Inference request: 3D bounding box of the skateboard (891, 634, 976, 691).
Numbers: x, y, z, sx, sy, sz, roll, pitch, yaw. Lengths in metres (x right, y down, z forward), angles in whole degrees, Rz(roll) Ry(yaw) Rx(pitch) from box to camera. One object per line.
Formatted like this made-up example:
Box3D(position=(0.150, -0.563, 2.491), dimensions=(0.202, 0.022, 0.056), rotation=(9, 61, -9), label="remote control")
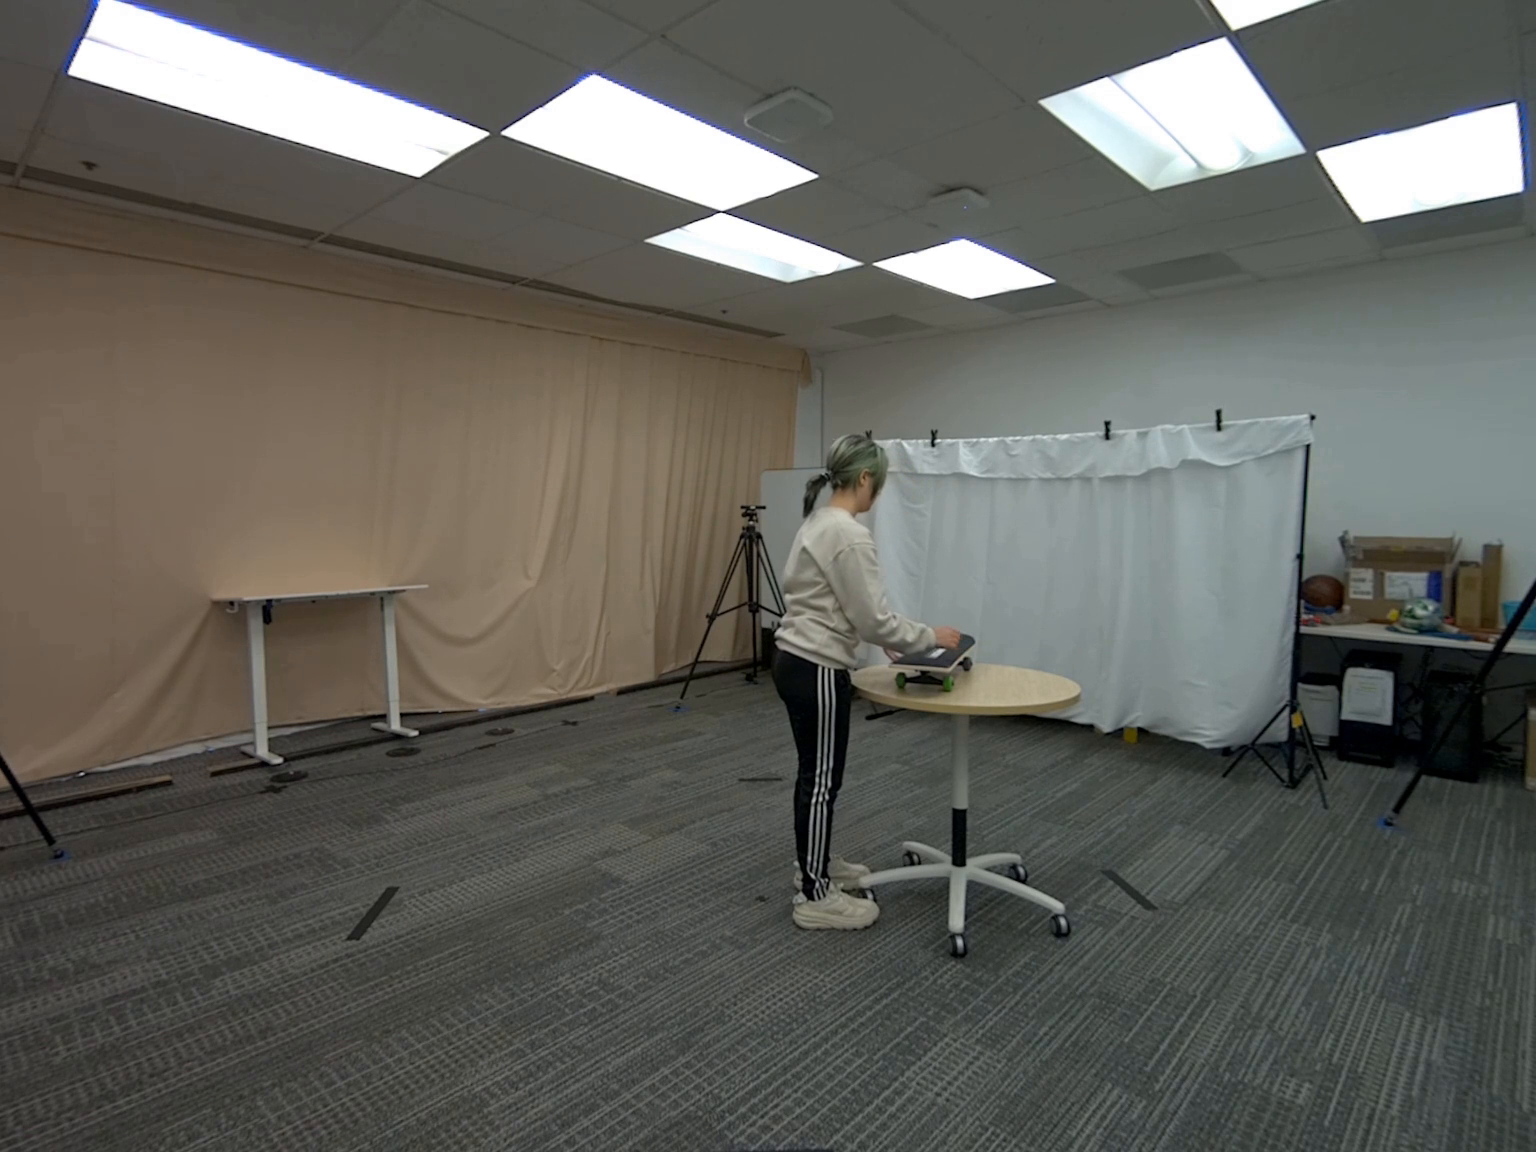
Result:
Box3D(position=(0.602, 0.312, 2.939), dimensions=(0.198, 0.110, 0.769), rotation=(0, 4, 22), label="skateboard")
